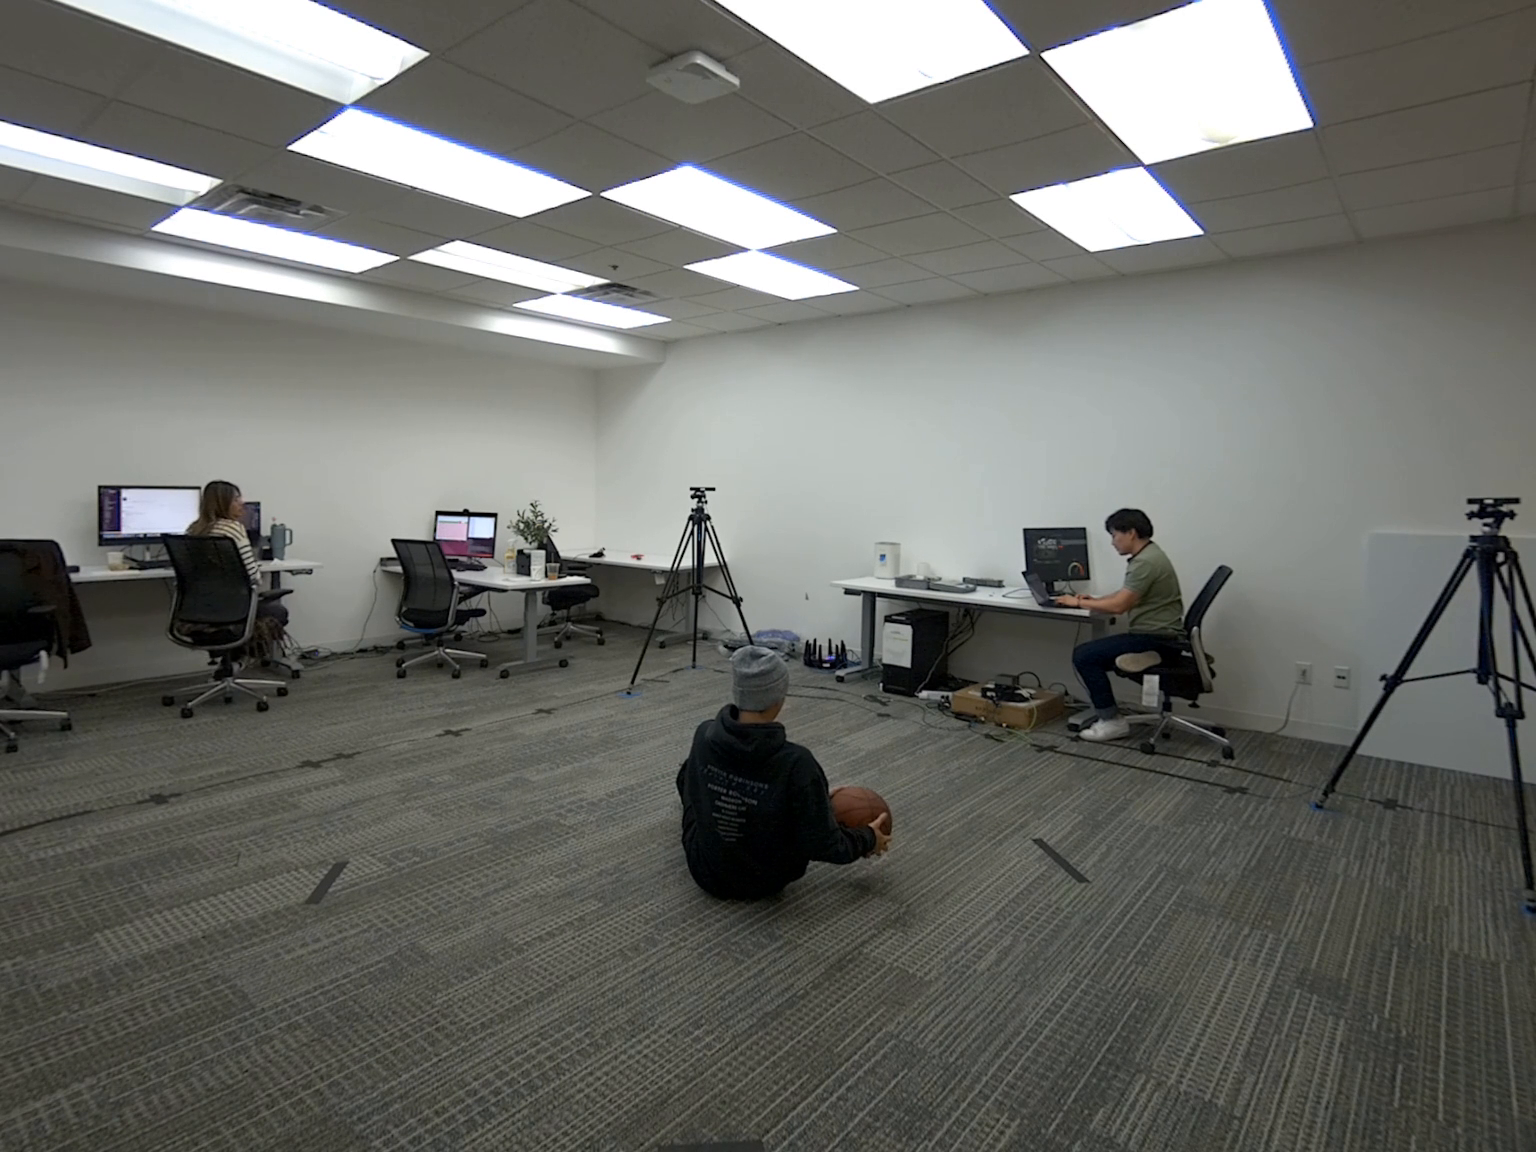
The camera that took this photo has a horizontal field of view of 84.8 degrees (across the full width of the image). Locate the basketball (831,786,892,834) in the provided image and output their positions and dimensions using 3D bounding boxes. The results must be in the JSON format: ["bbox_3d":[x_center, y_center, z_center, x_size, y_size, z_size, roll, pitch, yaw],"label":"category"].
[{"bbox_3d":[0.312,0.871,3.032,0.235,0.235,0.237,1,4,-2],"label":"basketball"}]
